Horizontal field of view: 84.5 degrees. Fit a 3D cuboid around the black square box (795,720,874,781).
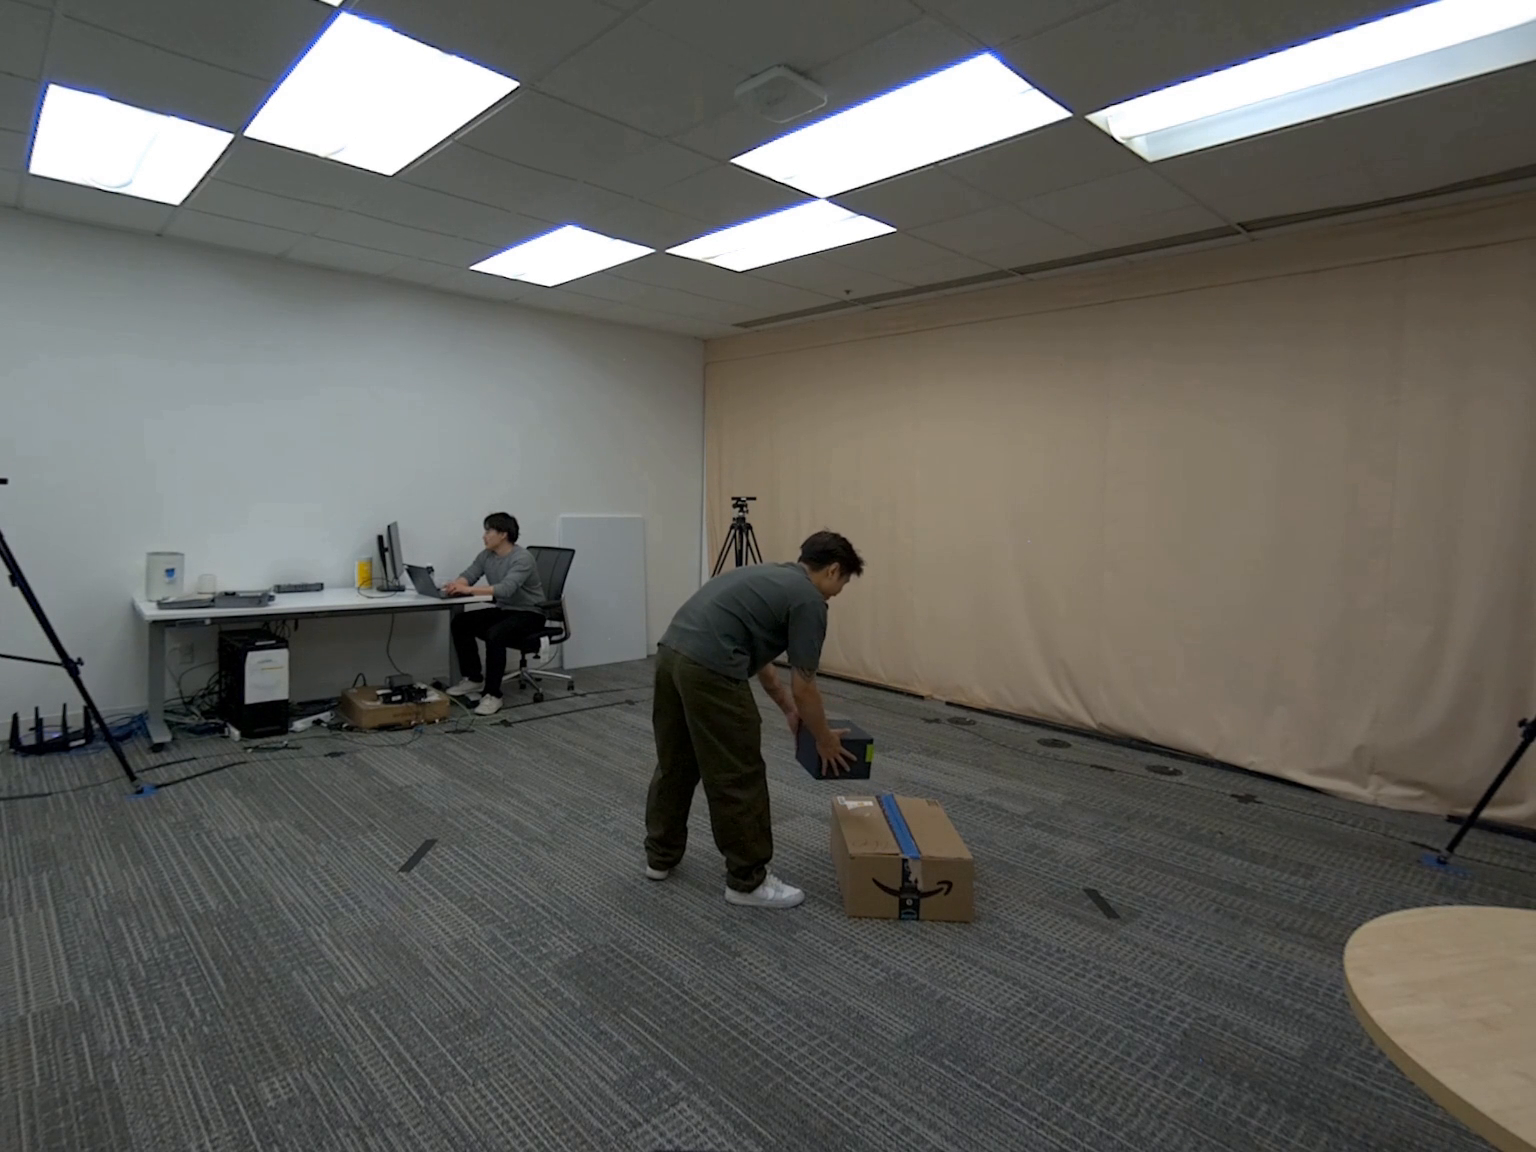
[{"bbox_3d":[0.242,0.645,3.157,0.214,0.155,0.232,4,6,-18],"label":"black square box"}]
